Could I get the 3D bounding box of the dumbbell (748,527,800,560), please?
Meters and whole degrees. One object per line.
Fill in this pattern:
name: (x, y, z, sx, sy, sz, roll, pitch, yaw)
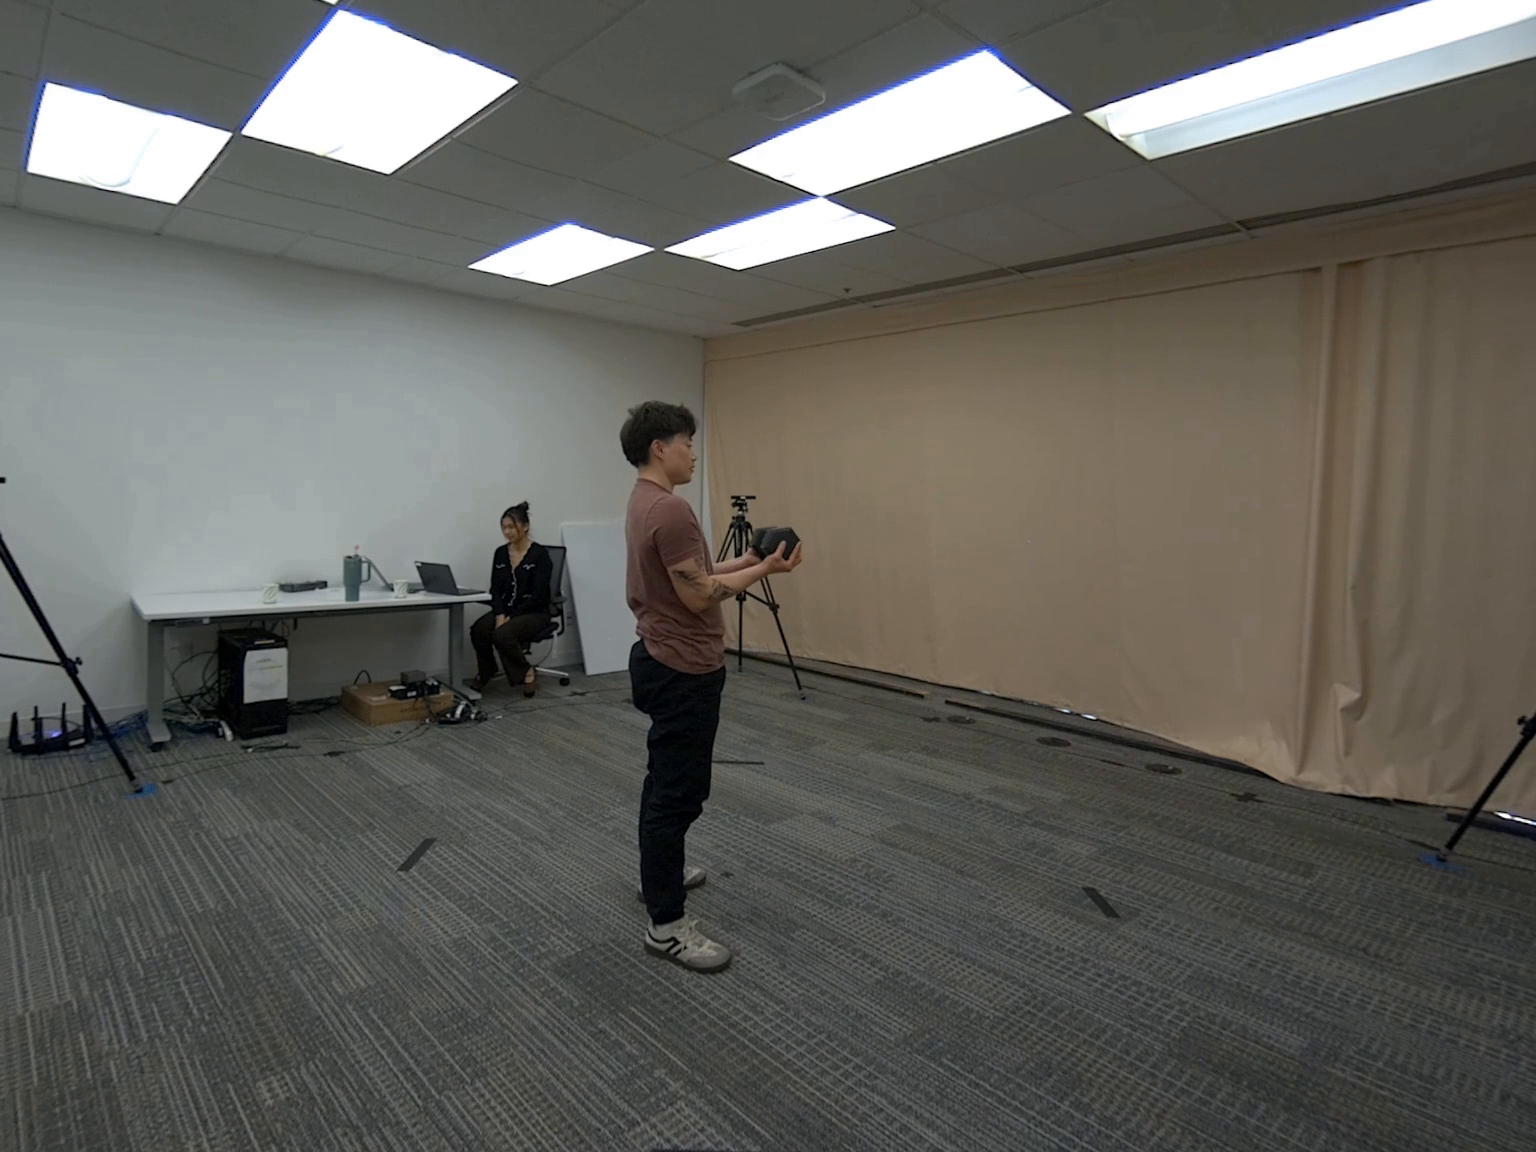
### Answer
dumbbell: (0.012, -0.105, 2.736, 0.122, 0.108, 0.296, -6, 3, -9)
